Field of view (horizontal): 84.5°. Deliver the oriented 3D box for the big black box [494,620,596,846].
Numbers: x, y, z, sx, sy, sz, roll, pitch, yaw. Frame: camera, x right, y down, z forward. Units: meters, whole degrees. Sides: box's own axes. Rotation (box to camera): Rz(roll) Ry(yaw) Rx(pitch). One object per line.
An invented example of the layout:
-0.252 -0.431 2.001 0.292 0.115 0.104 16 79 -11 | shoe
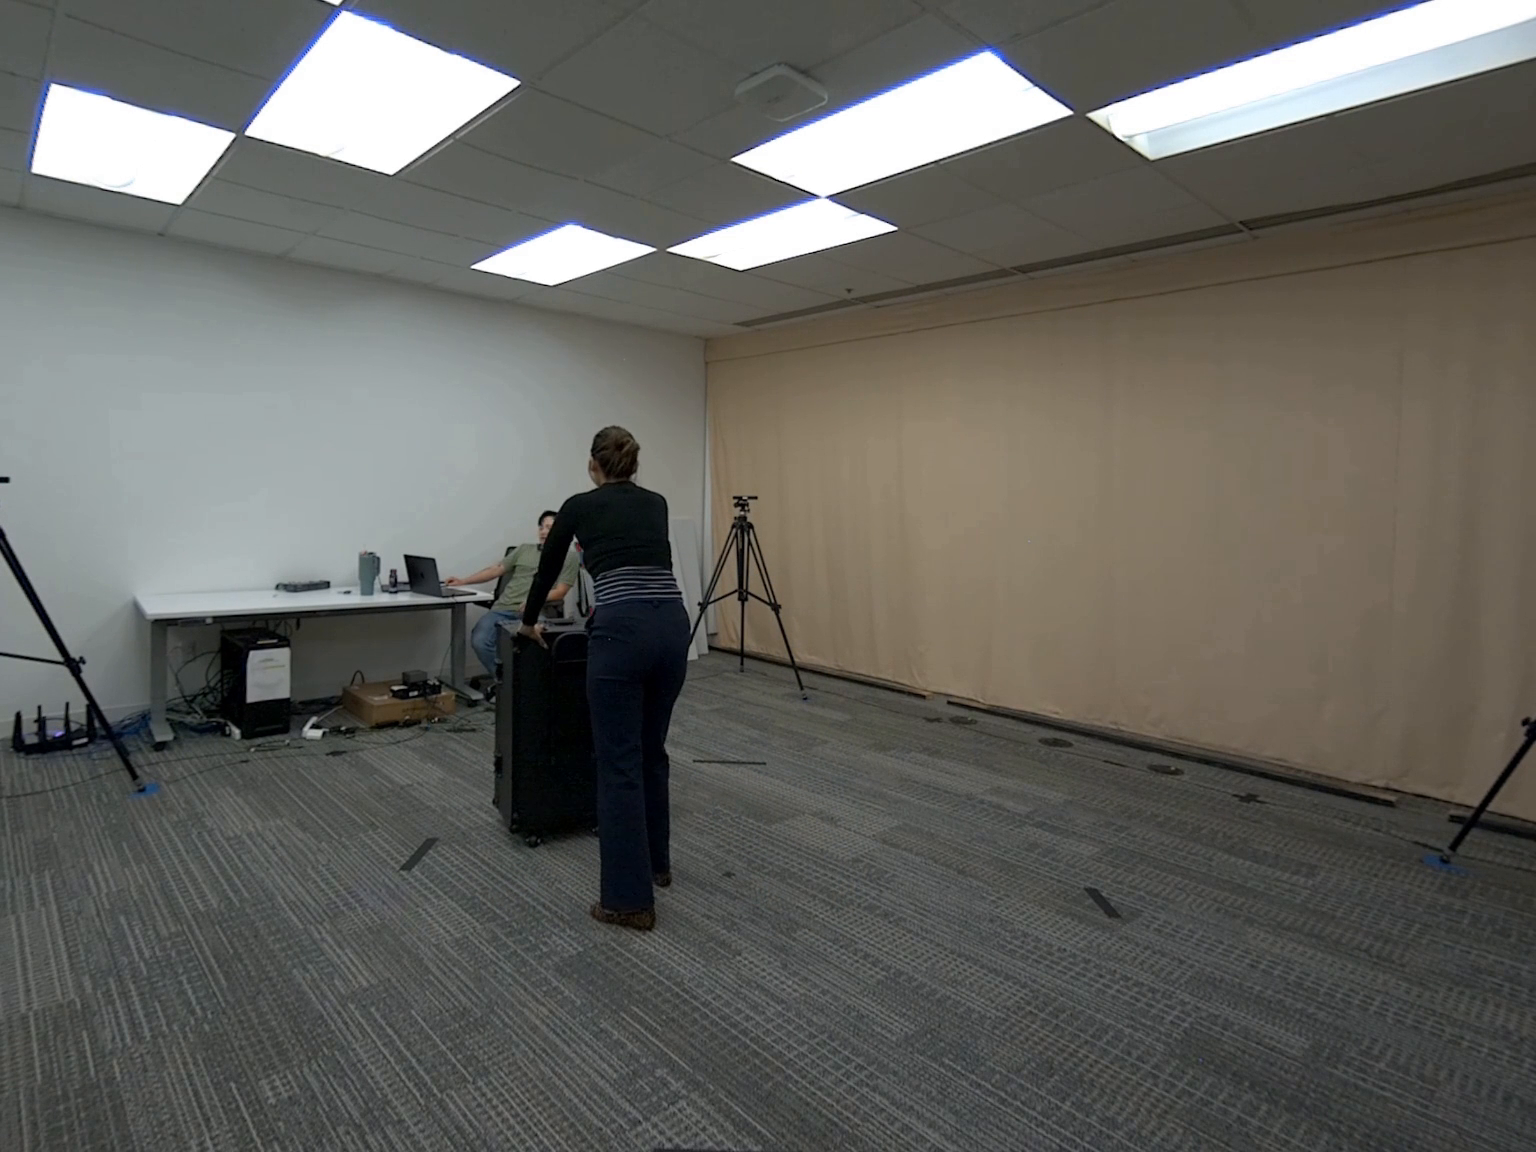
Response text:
-0.860 0.624 3.494 0.511 0.859 0.405 0 4 -27 | big black box
